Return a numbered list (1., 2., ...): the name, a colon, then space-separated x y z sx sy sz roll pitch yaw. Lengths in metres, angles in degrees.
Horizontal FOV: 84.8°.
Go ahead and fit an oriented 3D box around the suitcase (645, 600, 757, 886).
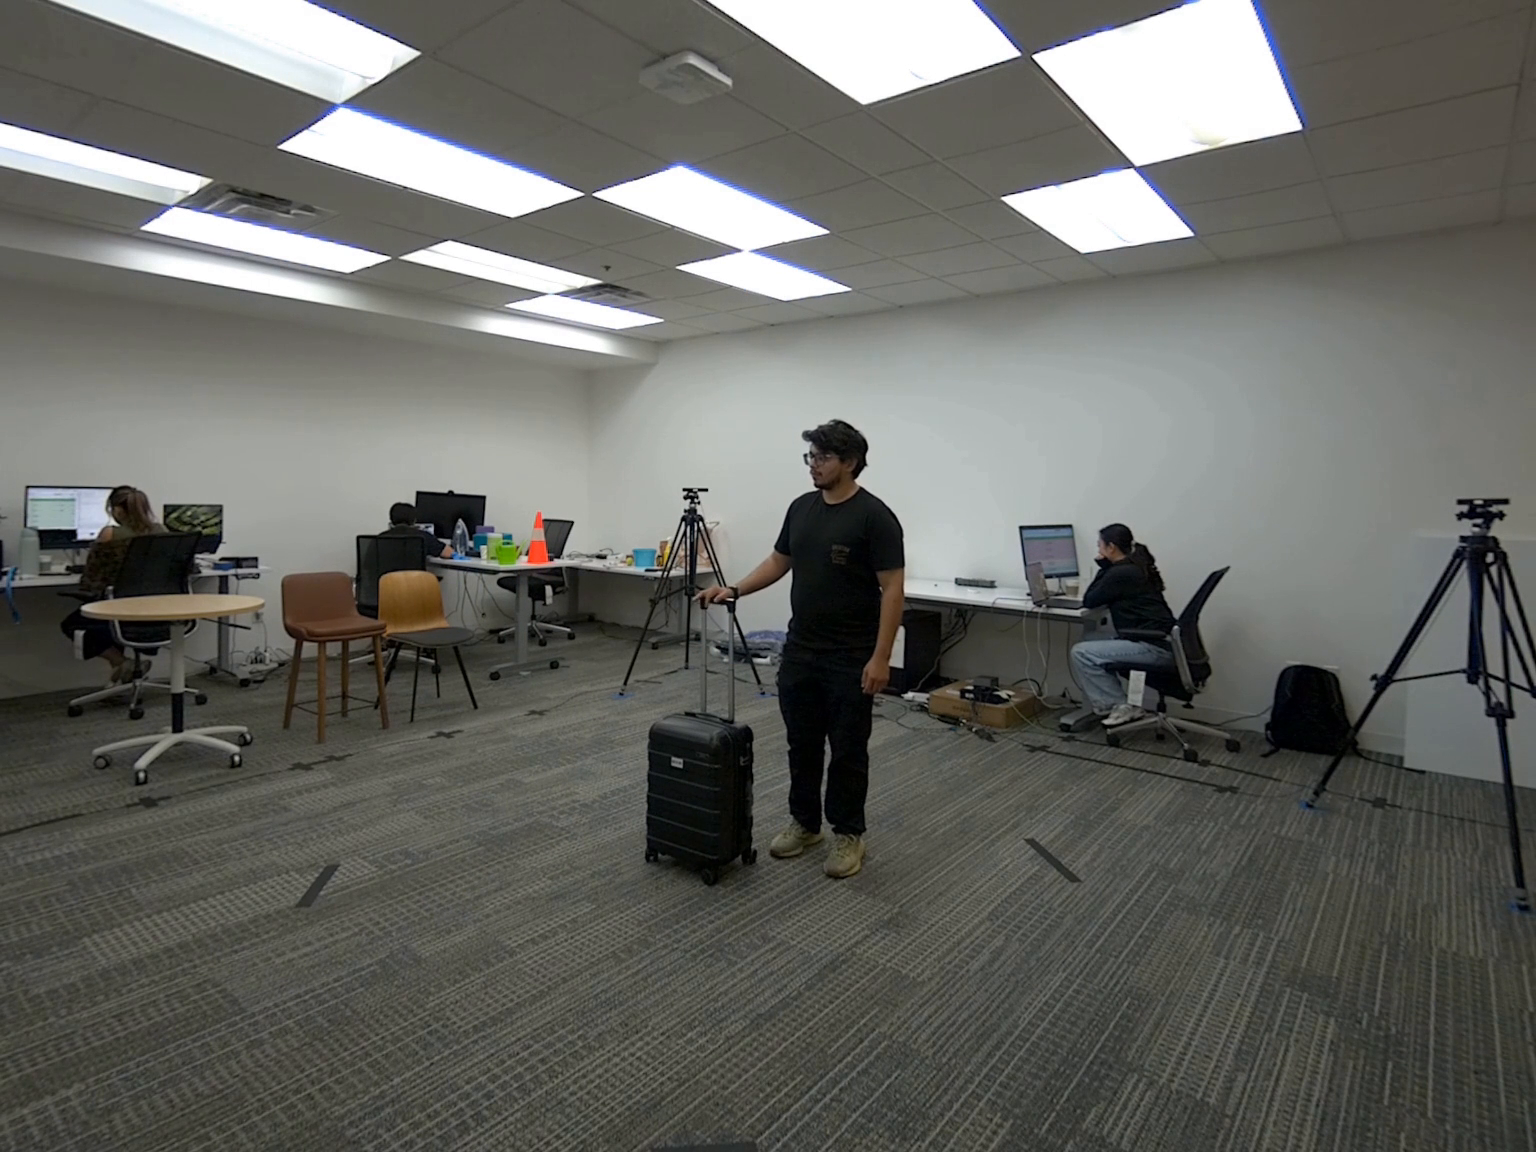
1. suitcase: -0.264 0.589 3.130 0.396 0.974 0.250 3 6 35
